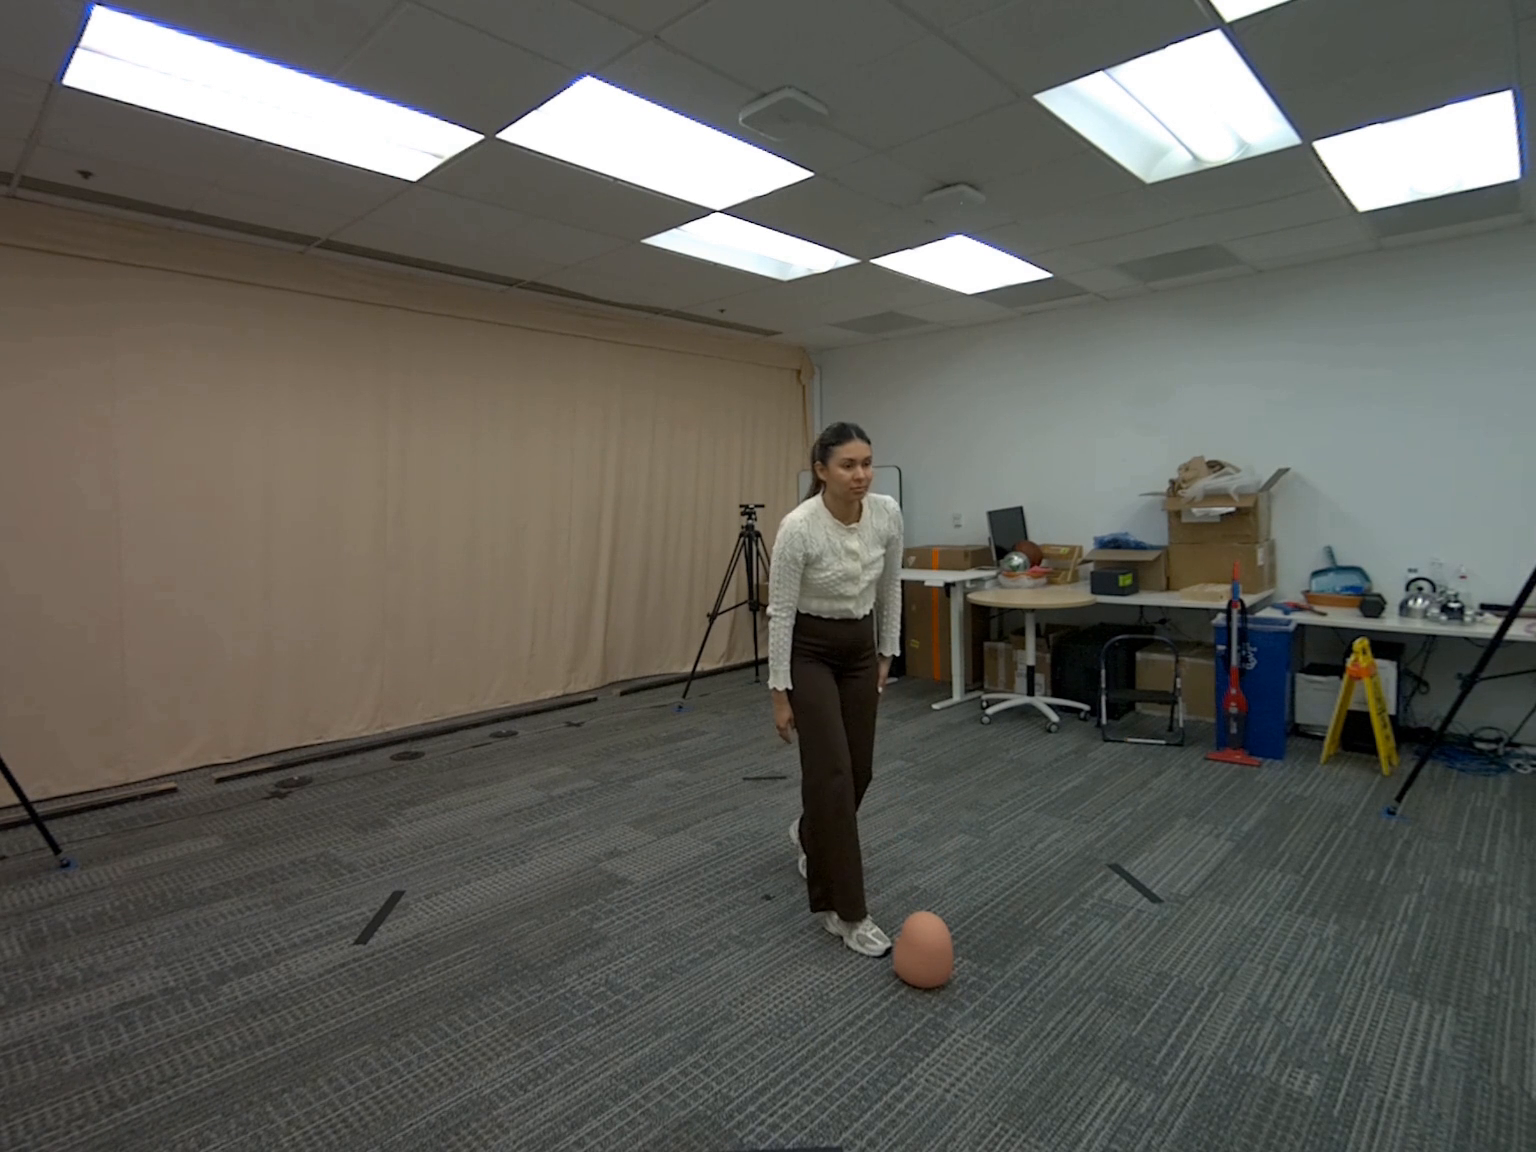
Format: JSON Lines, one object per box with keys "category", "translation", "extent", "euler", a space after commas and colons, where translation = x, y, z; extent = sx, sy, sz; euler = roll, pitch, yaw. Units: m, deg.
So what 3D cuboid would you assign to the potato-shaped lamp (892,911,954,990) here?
{"category": "potato-shaped lamp", "translation": [0.455, 1.075, 2.448], "extent": [0.161, 0.197, 0.176], "euler": [-4, 6, -26]}
